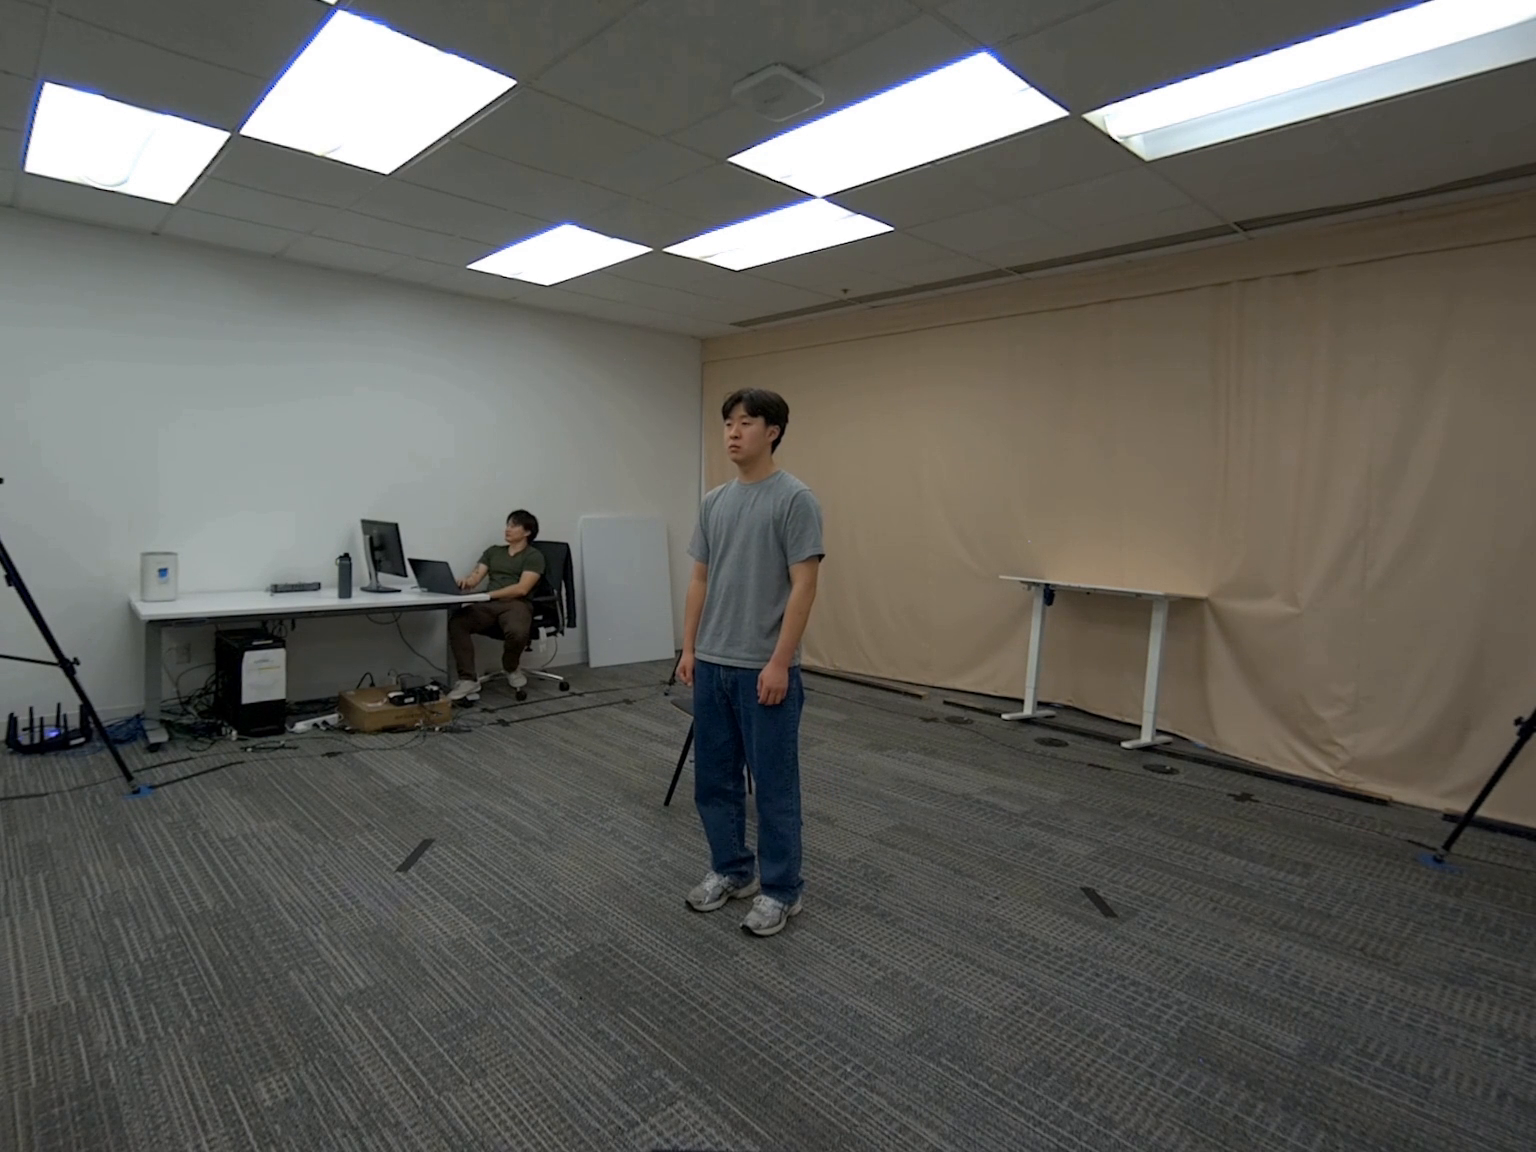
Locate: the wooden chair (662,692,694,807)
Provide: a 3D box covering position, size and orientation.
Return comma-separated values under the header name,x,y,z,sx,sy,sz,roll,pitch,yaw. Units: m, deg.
name,x,y,z,sx,sy,sz,roll,pitch,yaw
wooden chair,-0.154,0.630,3.681,0.468,0.873,0.536,0,8,-30
